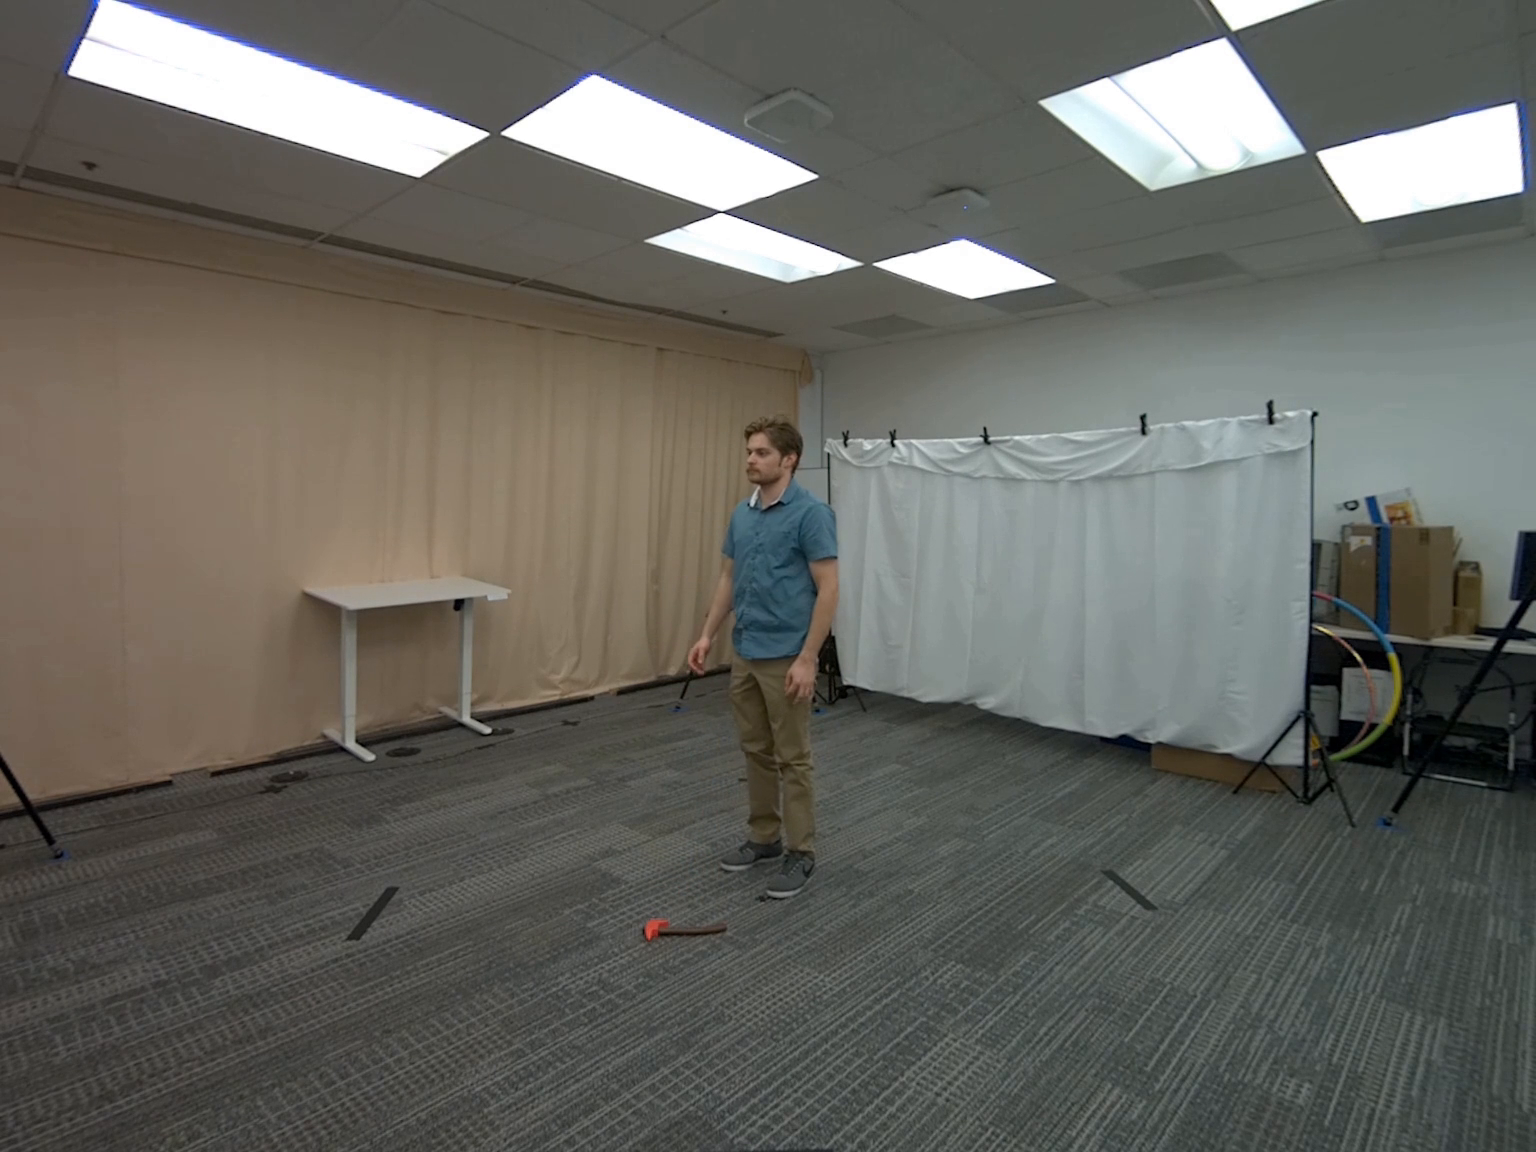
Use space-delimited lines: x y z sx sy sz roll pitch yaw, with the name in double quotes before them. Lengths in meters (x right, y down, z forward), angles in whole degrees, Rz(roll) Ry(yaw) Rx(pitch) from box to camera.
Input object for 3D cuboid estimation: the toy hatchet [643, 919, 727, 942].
"toy hatchet" -0.279 1.155 2.771 0.265 0.029 0.133 1 2 -18
